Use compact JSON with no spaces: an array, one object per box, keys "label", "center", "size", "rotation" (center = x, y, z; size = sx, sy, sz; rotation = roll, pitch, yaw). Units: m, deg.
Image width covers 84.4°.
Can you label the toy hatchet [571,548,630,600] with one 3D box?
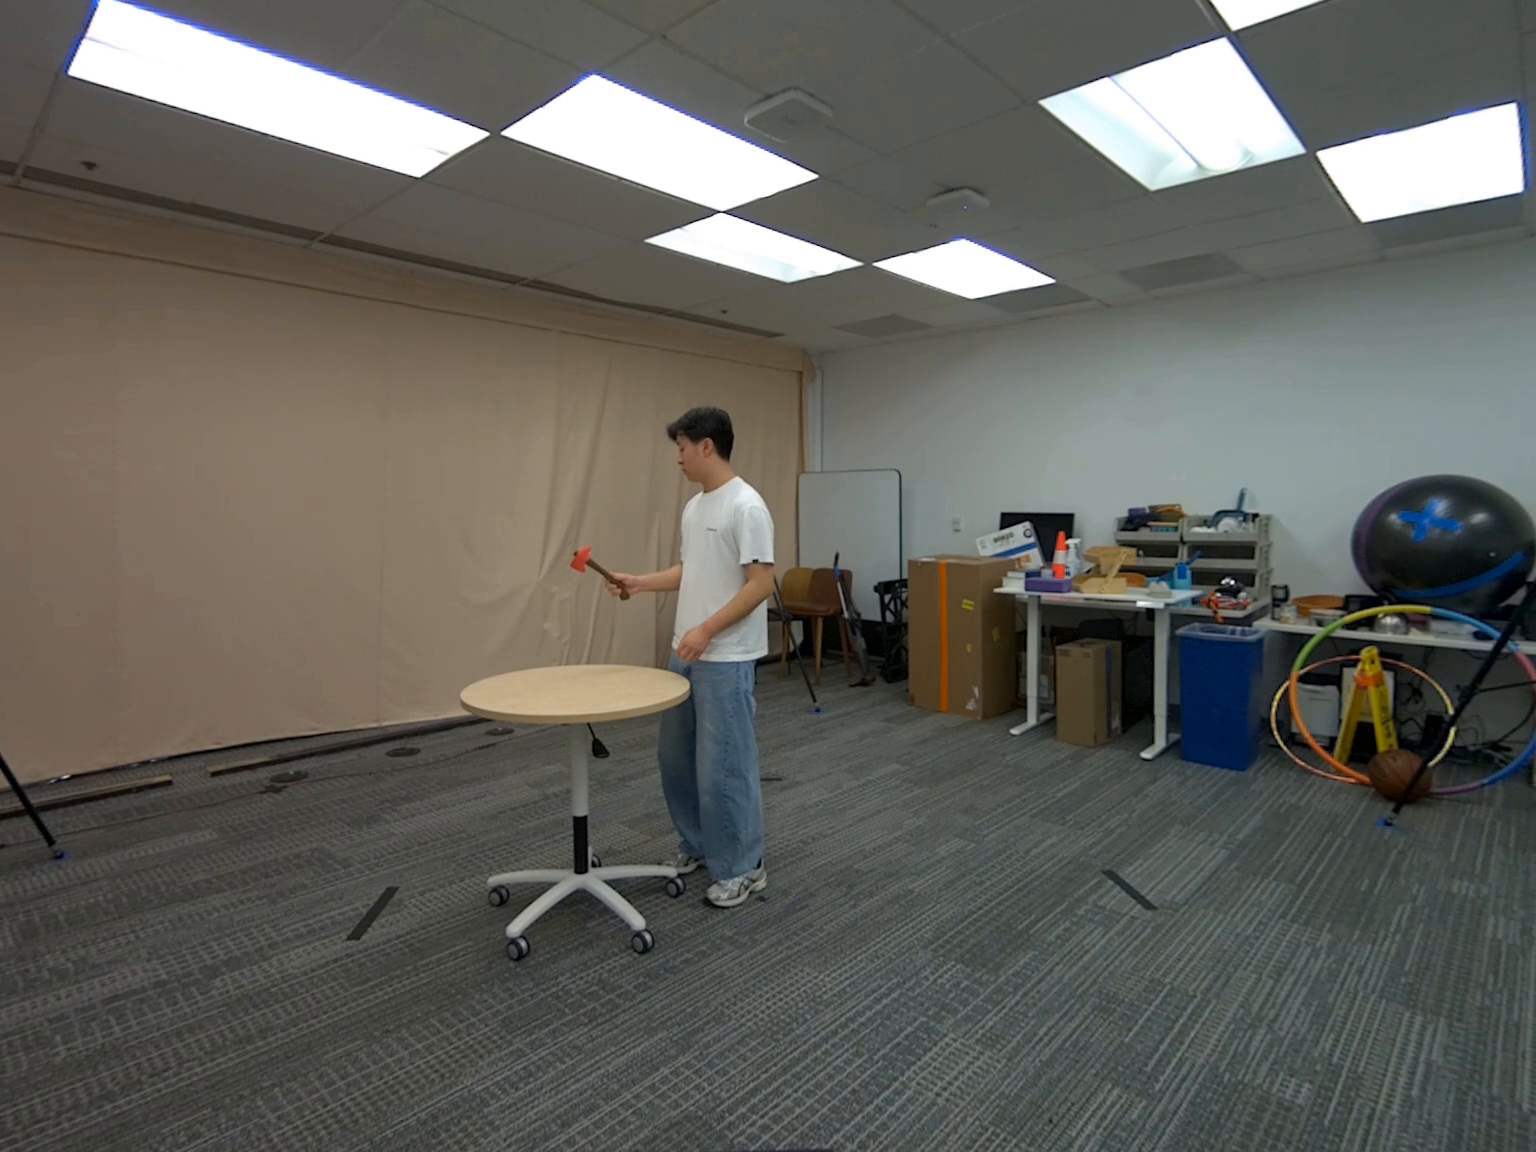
[{"label":"toy hatchet","center":[-0.637,0.006,3.140],"size":[0.133,0.263,0.030],"rotation":[-21,31,23]}]
